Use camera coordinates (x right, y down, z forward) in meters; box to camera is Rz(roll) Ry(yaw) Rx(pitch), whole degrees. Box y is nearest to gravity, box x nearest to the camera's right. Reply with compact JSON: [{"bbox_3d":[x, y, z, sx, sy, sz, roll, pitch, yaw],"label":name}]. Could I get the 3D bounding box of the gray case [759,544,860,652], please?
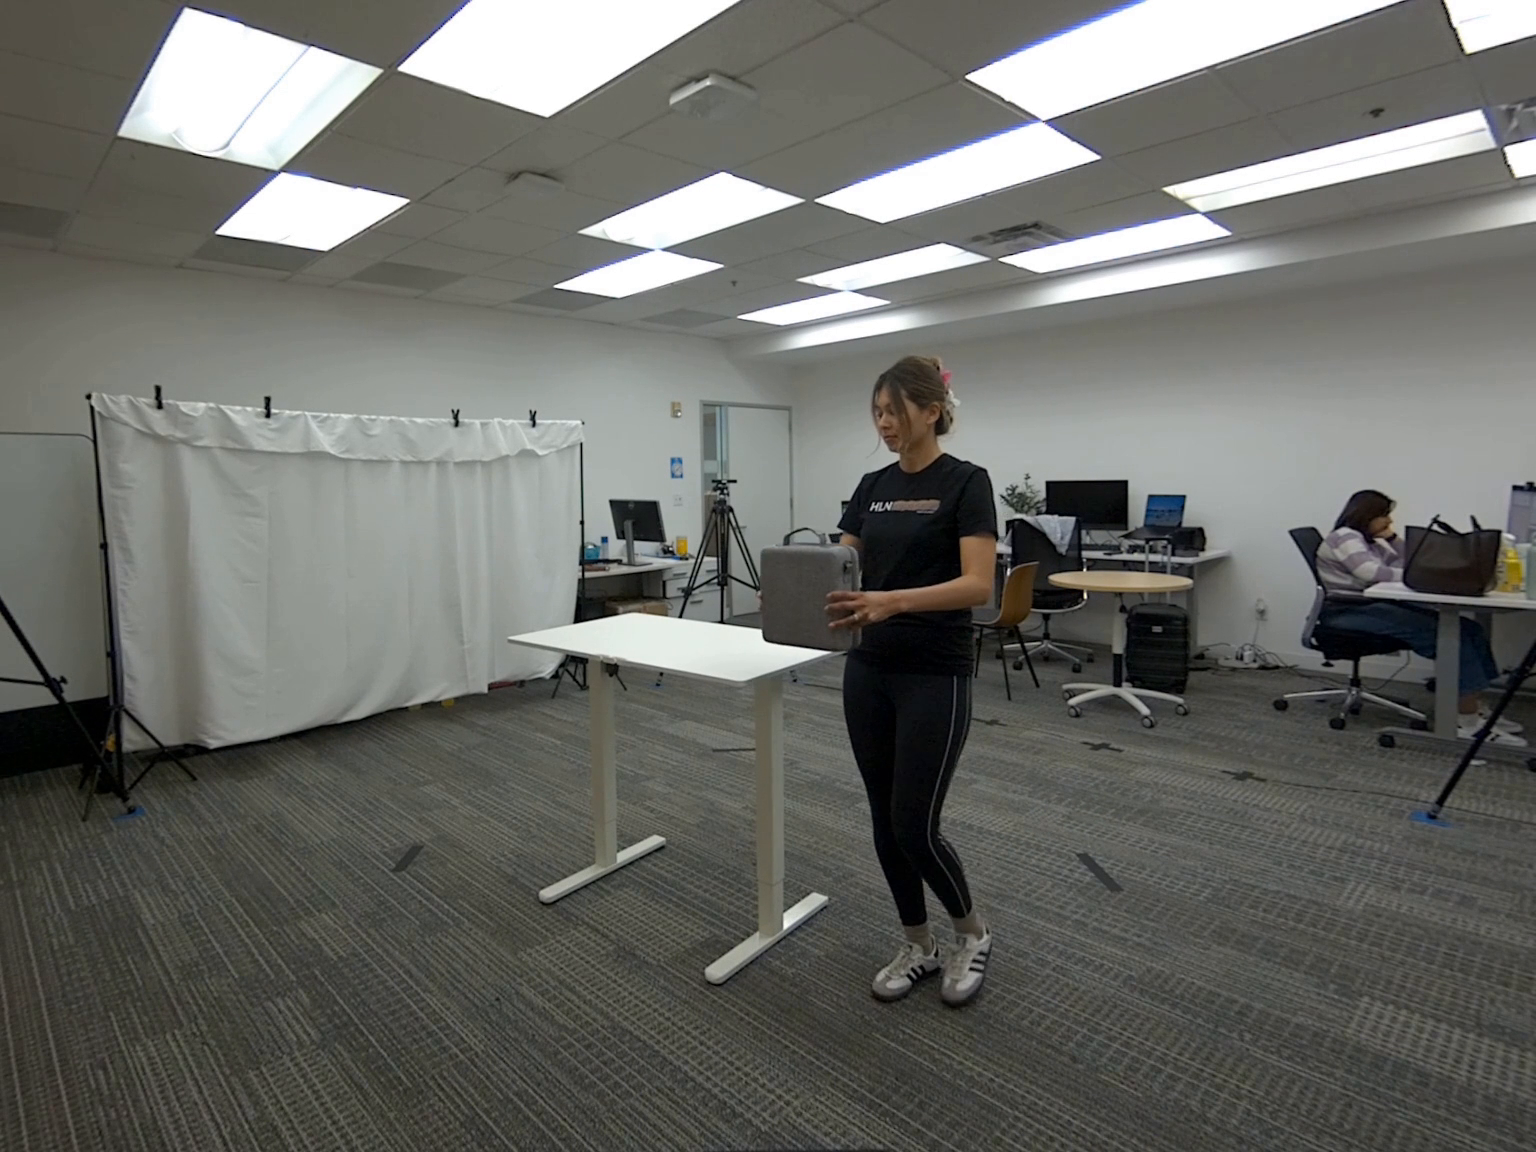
[{"bbox_3d":[0.115,0.046,2.085,0.264,0.260,0.101,0,3,44],"label":"gray case"}]
